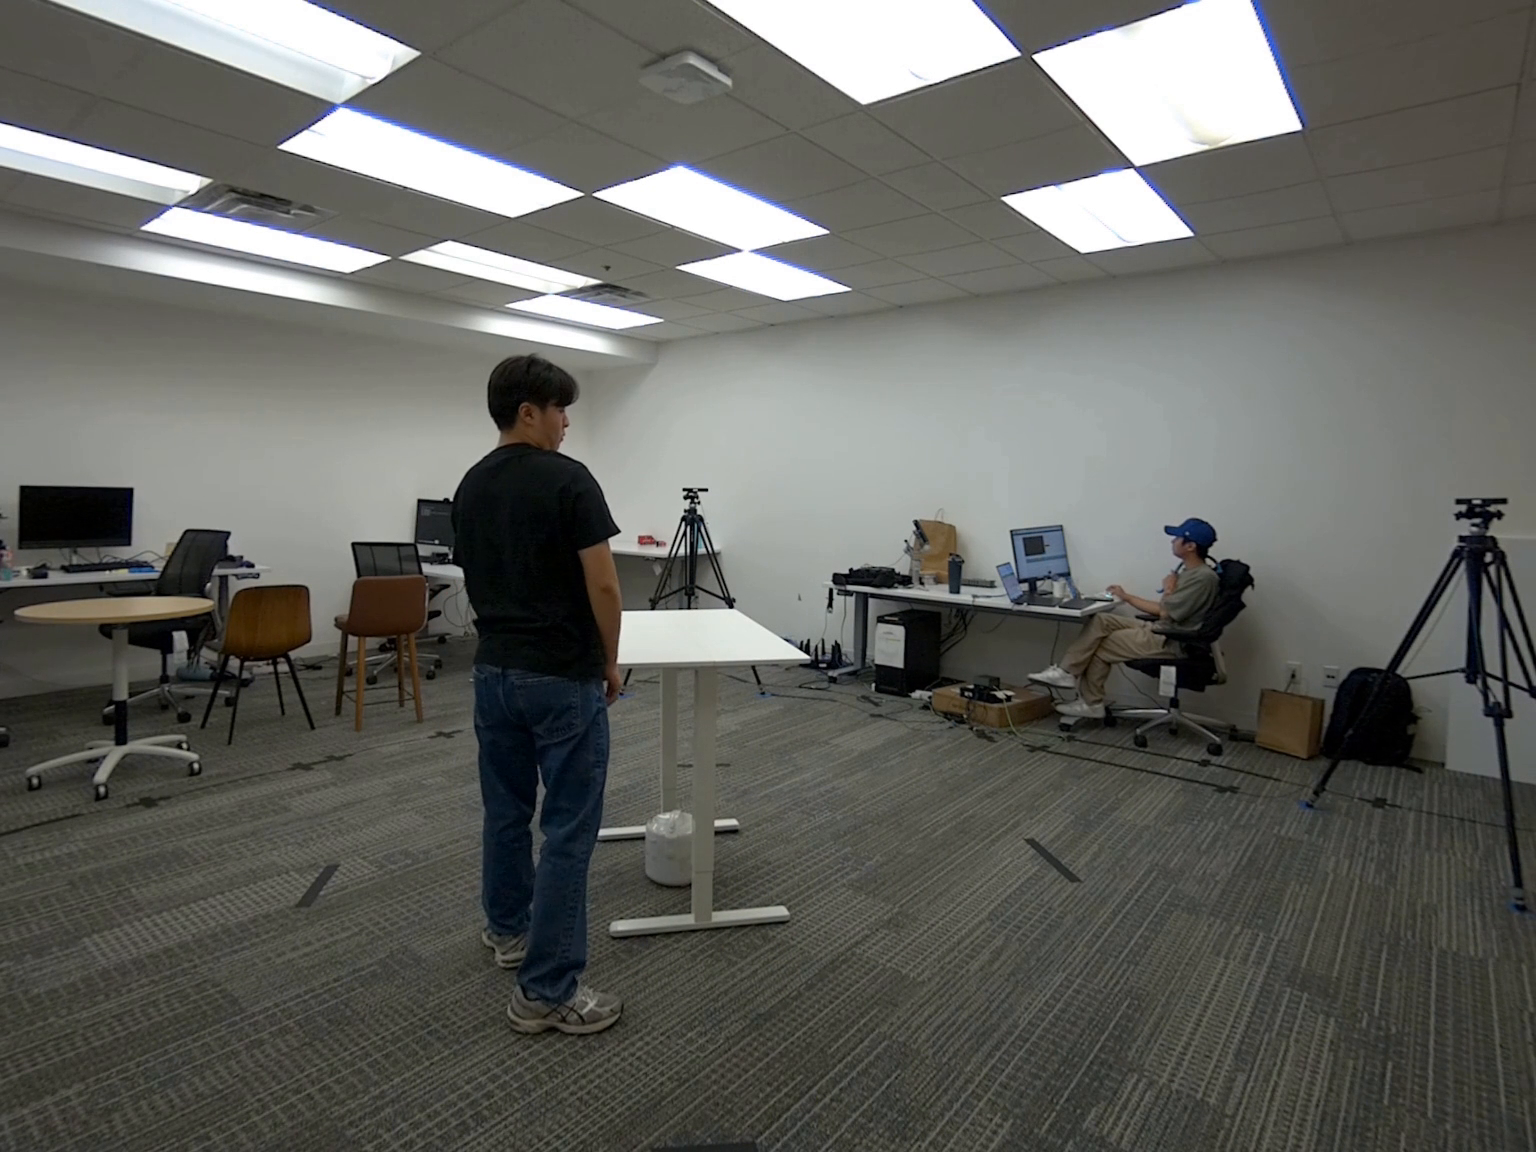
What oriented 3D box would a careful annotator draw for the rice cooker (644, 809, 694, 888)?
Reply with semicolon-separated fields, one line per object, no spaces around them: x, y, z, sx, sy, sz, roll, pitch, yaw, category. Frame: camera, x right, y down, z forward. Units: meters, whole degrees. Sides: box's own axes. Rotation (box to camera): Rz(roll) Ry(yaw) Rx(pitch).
-0.342;0.956;3.044;0.219;0.232;0.220;0;4;5;rice cooker
